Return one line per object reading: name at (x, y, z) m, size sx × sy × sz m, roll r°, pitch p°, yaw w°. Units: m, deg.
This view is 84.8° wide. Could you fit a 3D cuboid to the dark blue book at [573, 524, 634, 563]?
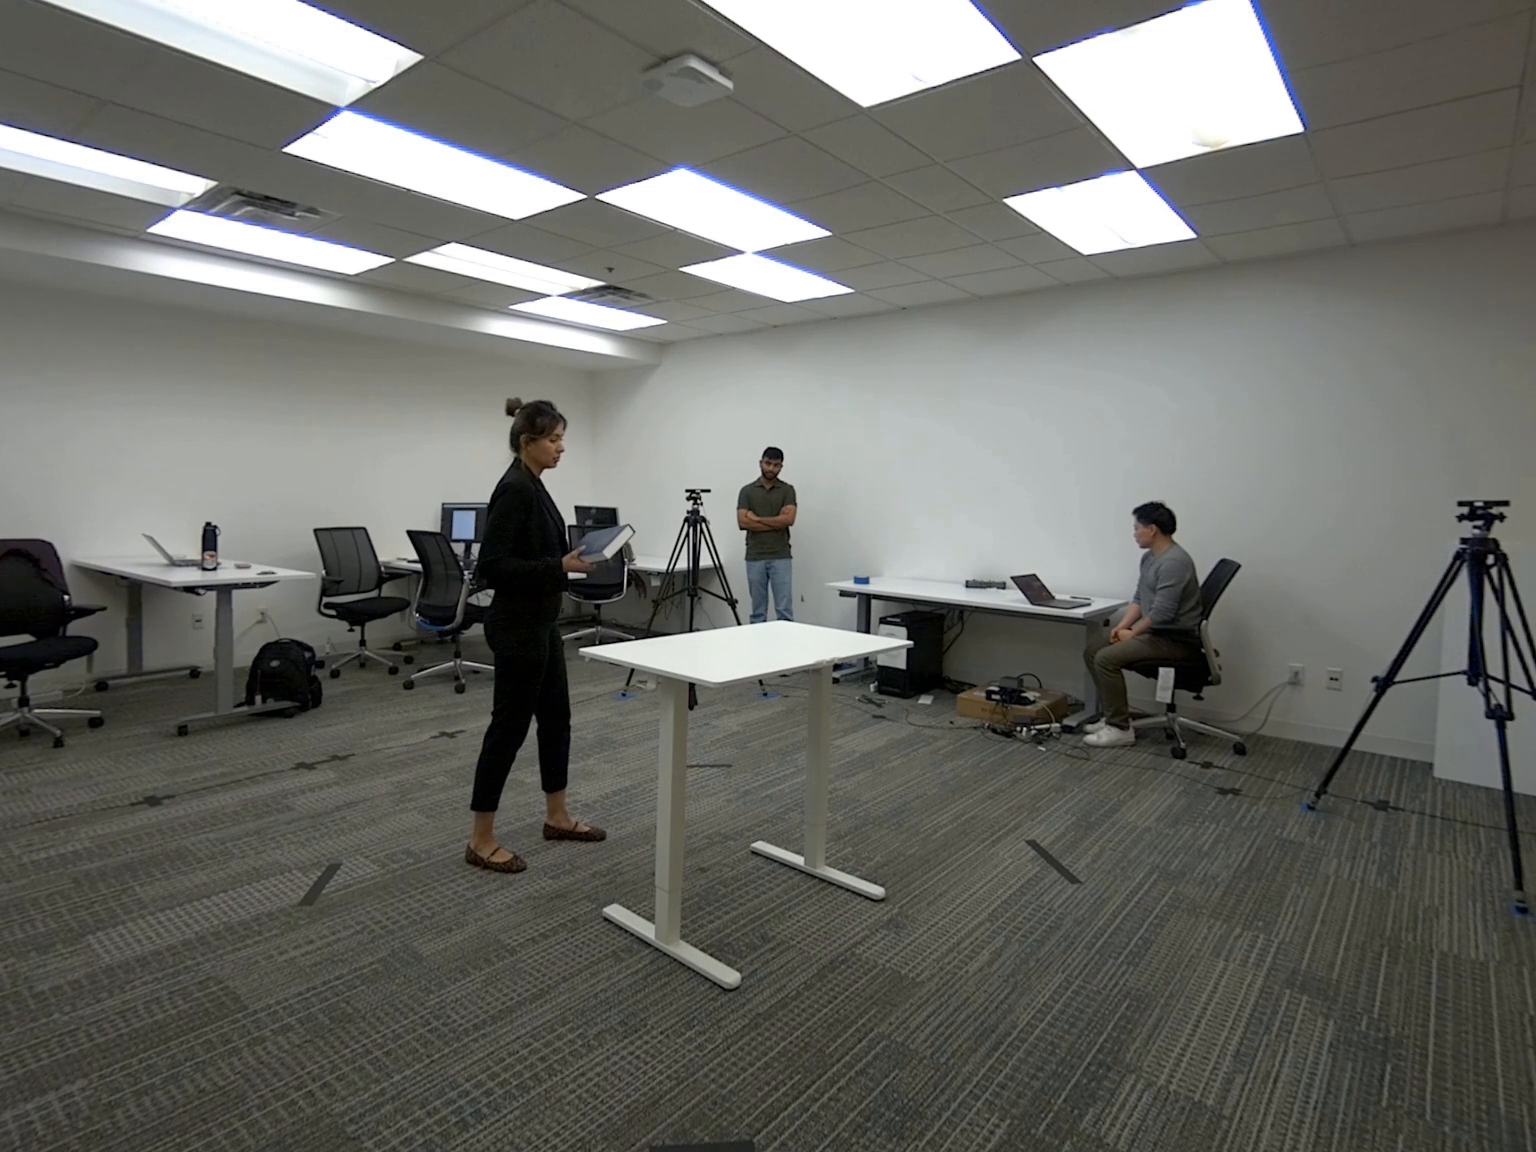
dark blue book at (-0.623, -0.111, 3.030) m, size 0.252 × 0.044 × 0.164 m, roll -7°, pitch 34°, yaw 43°
